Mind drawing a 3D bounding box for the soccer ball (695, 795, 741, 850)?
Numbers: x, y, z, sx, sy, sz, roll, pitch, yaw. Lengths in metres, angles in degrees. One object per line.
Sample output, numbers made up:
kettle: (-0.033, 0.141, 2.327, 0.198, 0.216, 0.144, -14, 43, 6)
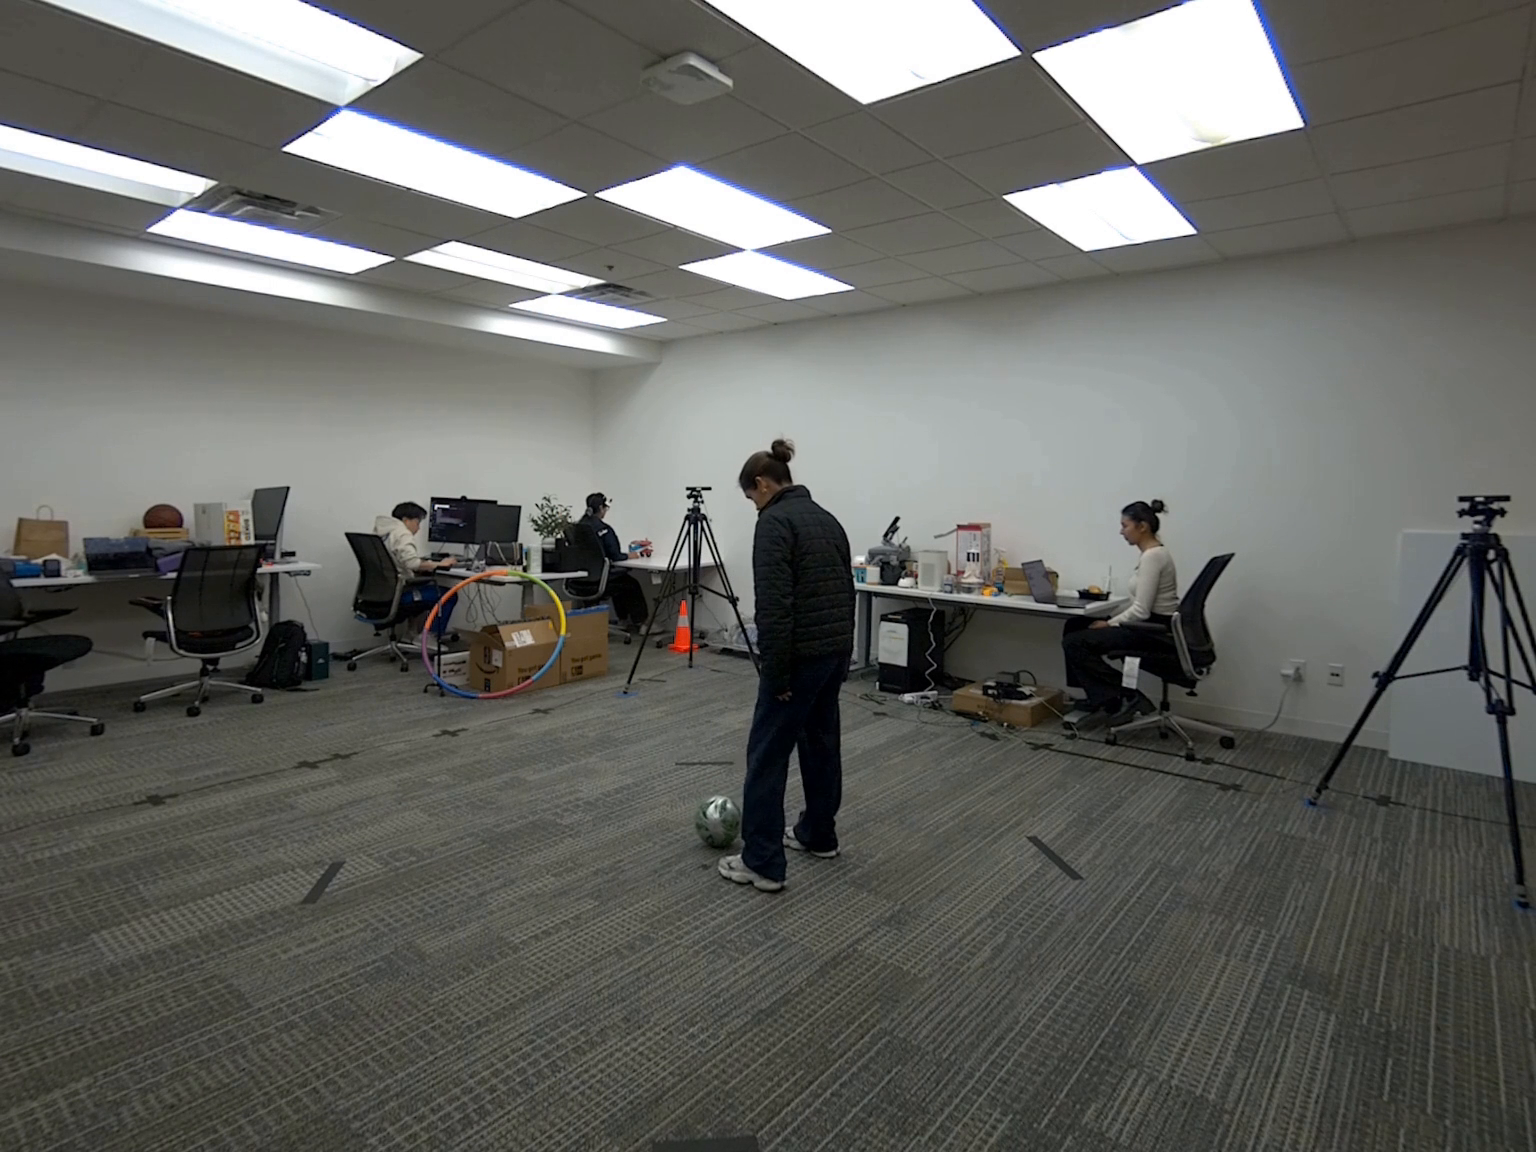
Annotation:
soccer ball: (-0.203, 0.952, 3.318, 0.187, 0.187, 0.188, 1, 4, -2)
